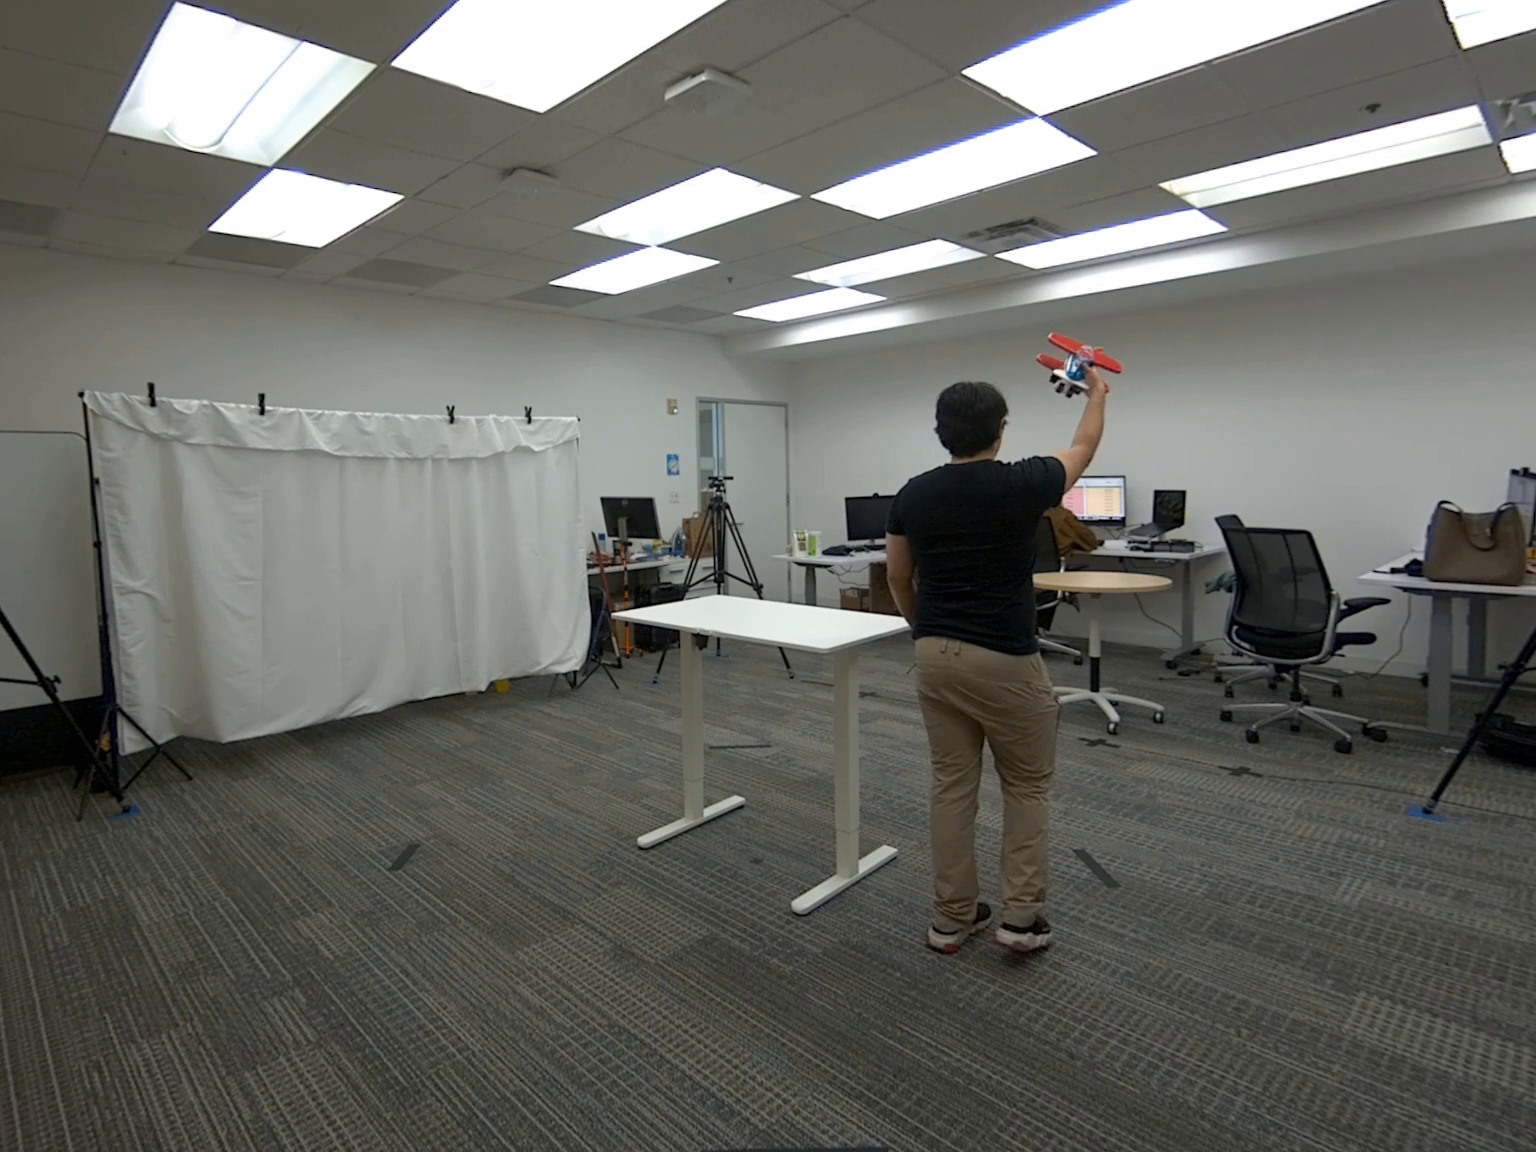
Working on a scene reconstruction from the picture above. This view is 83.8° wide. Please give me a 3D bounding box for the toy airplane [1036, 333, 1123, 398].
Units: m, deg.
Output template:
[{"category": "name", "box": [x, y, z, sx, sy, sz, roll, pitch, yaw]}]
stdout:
[{"category": "toy airplane", "box": [1.031, -0.667, 2.799, 0.247, 0.155, 0.266, 17, 25, -15]}]
